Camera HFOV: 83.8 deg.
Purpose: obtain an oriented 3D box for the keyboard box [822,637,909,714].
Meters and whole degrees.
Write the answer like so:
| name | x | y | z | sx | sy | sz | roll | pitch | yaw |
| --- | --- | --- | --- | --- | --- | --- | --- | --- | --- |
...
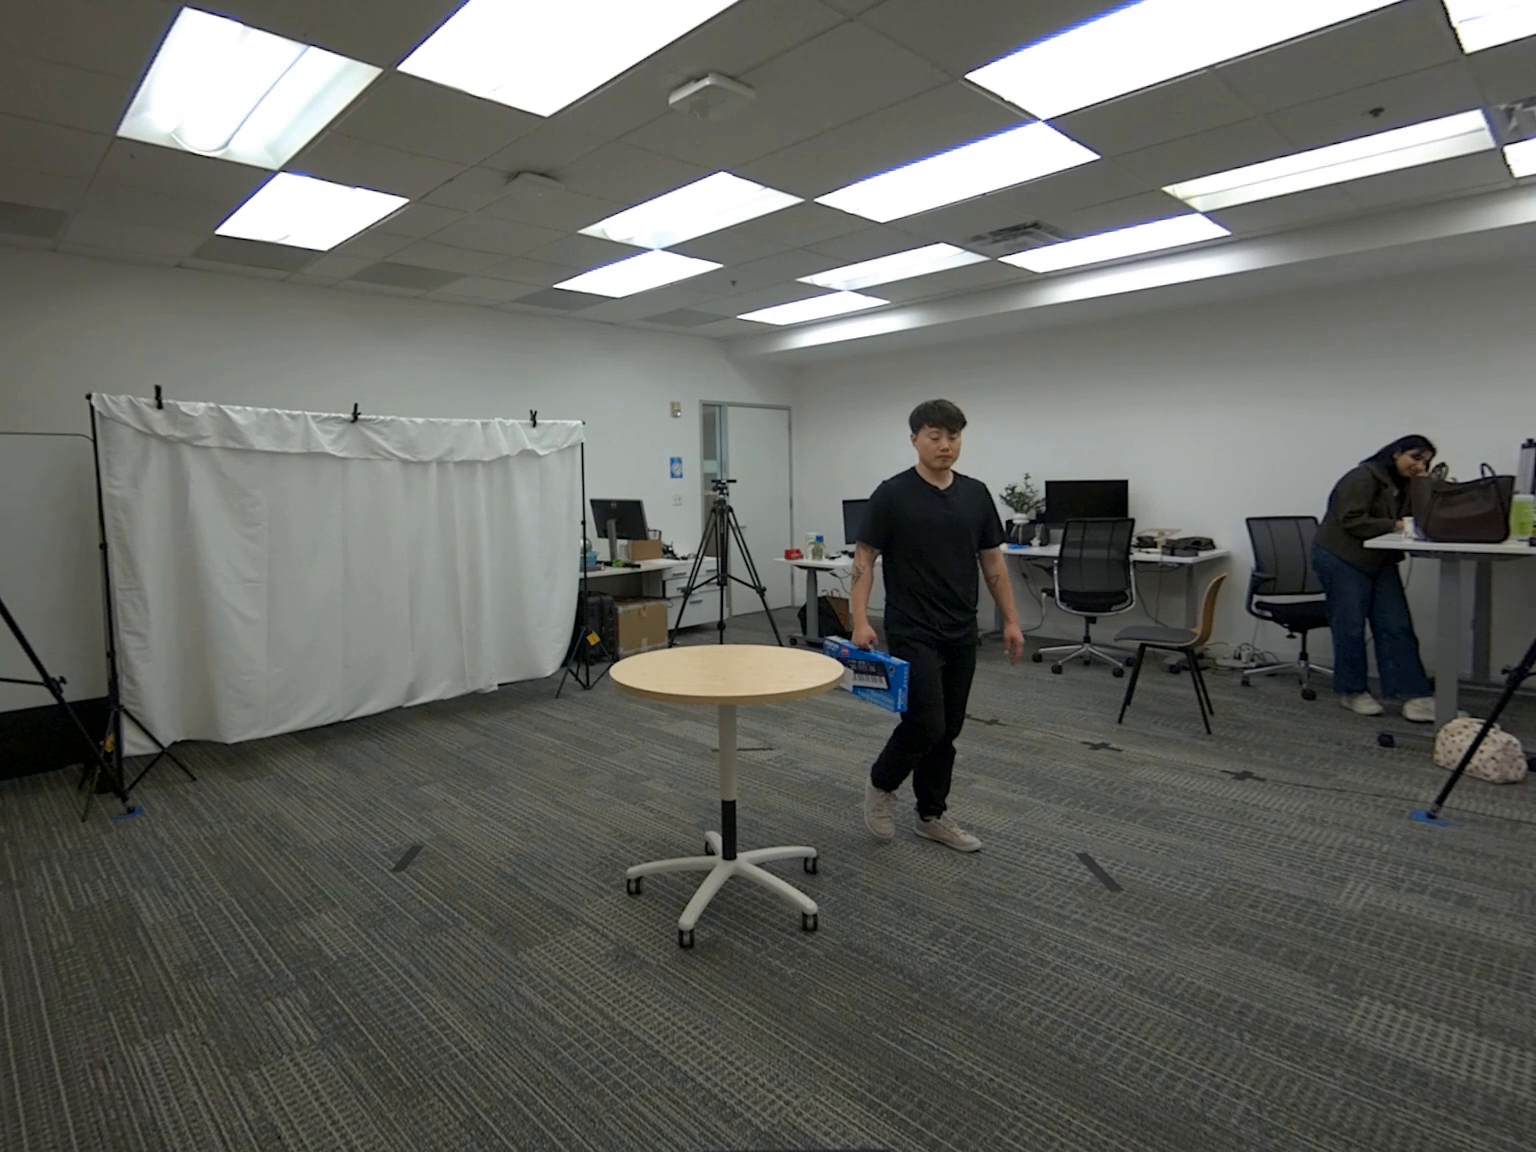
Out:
| name | x | y | z | sx | sy | sz | roll | pitch | yaw |
| --- | --- | --- | --- | --- | --- | --- | --- | --- | --- |
| keyboard box | 0.350 | 0.354 | 3.128 | 0.058 | 0.175 | 0.450 | -2 | 9 | -31 |
